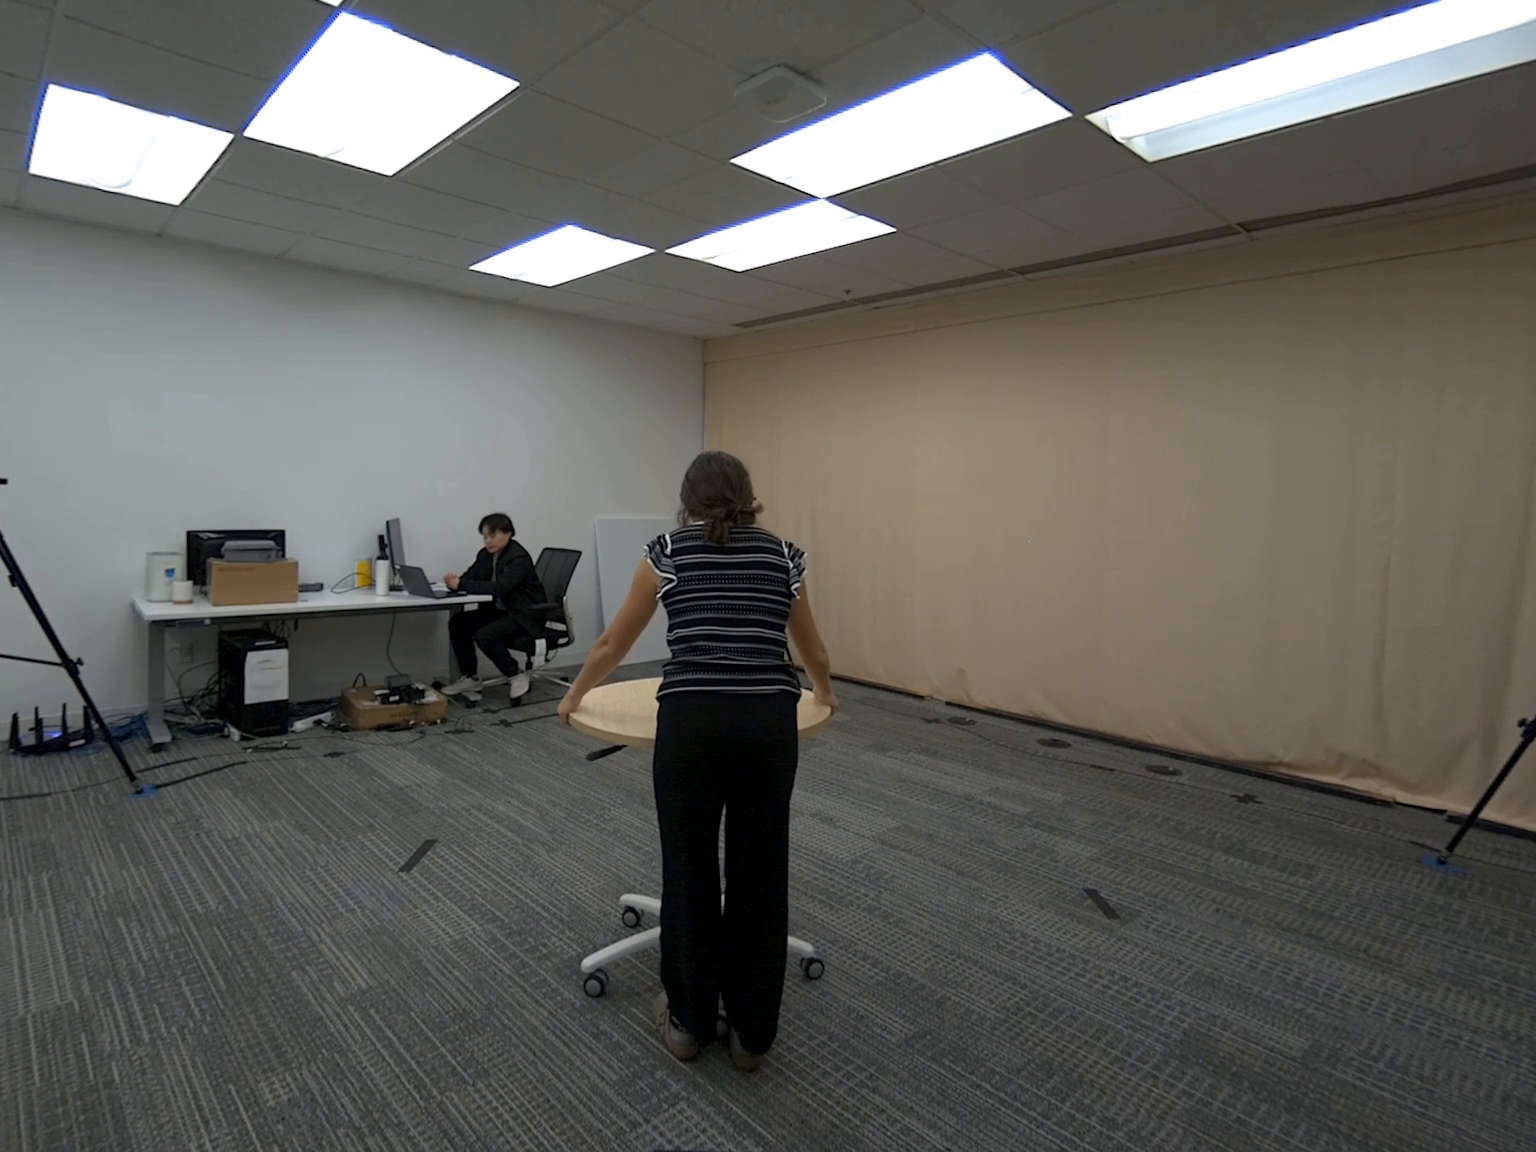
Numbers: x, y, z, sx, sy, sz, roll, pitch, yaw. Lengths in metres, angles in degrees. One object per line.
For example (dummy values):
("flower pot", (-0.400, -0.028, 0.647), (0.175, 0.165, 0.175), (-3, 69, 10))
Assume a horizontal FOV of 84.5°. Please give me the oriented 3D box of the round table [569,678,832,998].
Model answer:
("round table", (-0.203, 0.772, 2.491), (0.763, 0.792, 0.766), (1, 4, -1))
